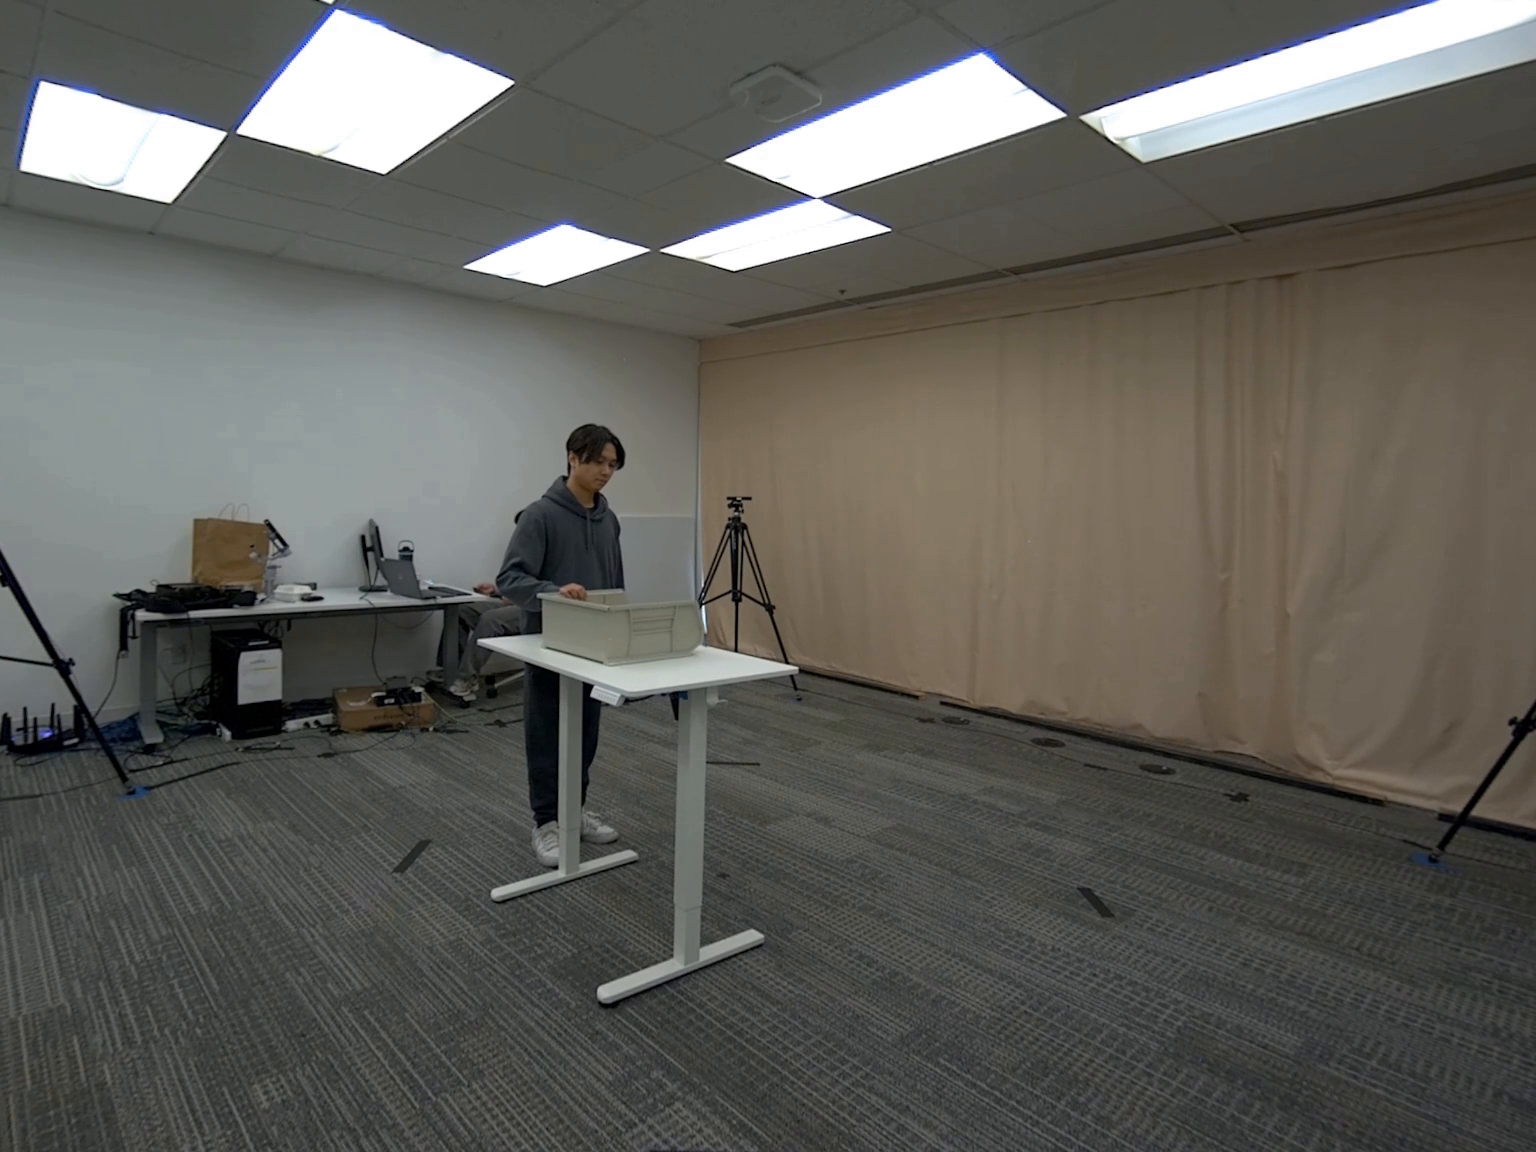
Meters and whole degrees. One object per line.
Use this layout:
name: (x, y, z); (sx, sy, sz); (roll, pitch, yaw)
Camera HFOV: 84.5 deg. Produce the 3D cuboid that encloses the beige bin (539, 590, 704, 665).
beige bin: (-0.488, 0.159, 2.749); (0.369, 0.188, 0.433); (-4, 7, -43)
